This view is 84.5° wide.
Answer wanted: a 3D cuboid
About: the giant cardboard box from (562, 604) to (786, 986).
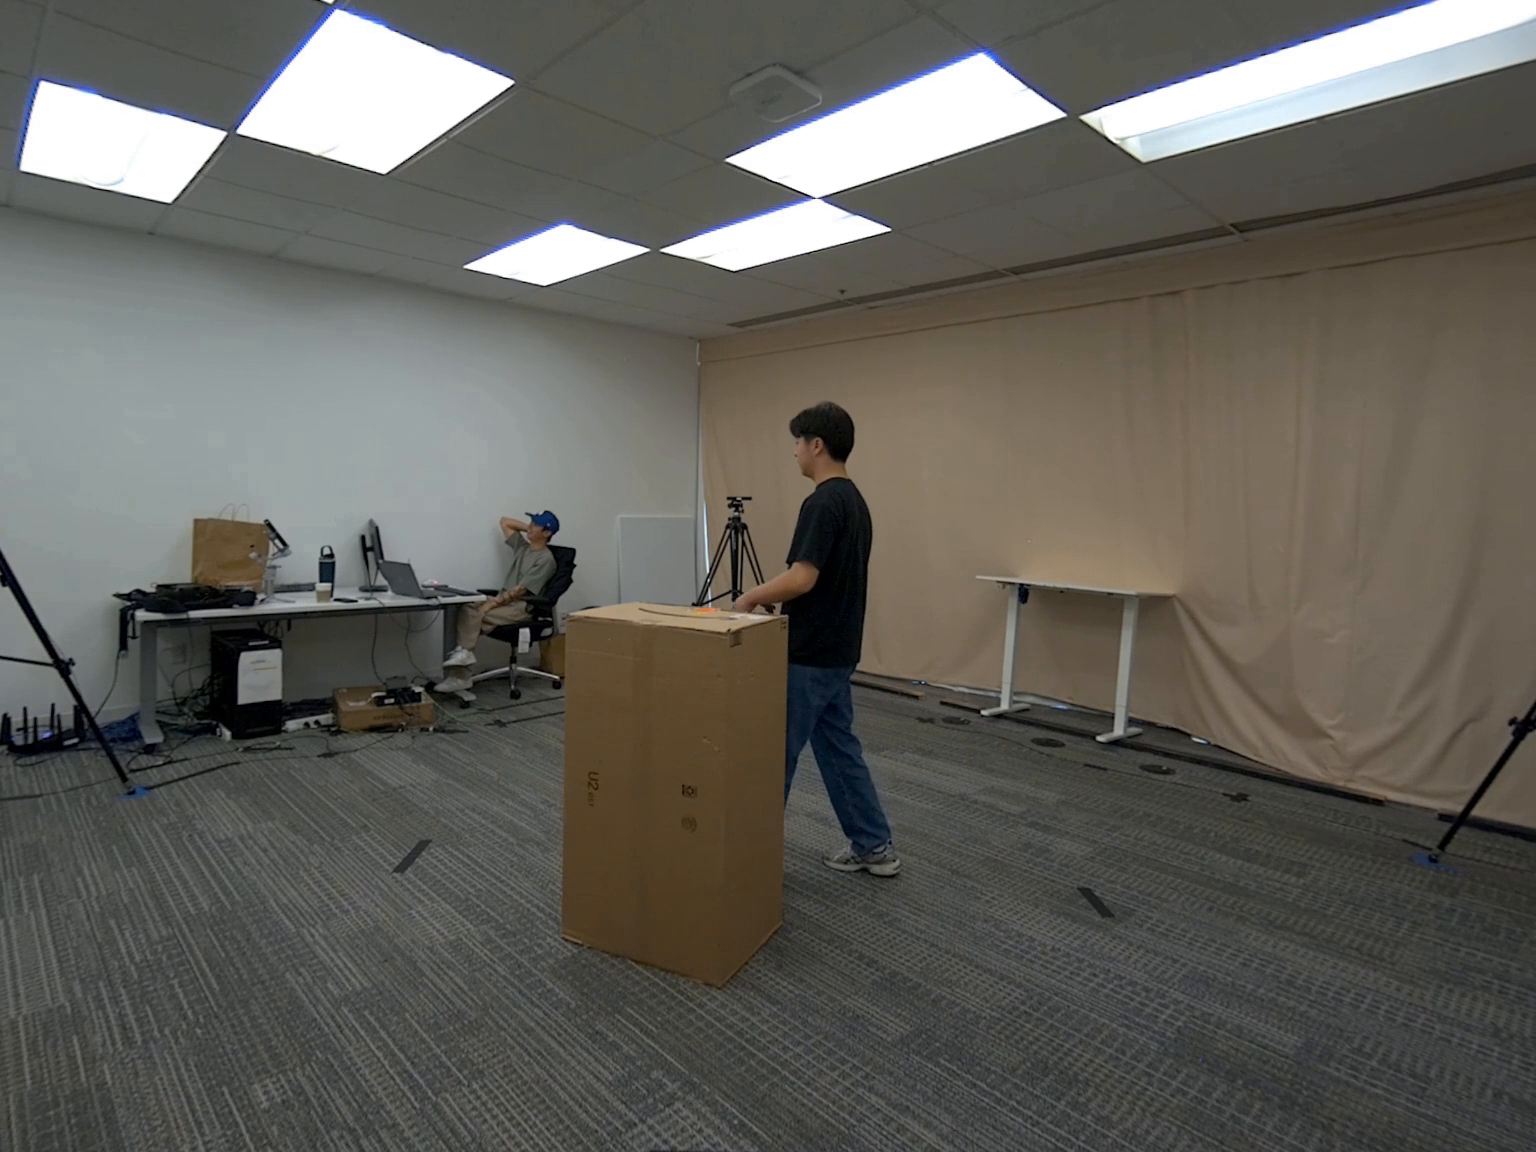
[{"bbox_3d":[-0.297,0.629,2.676,0.596,1.025,0.438,3,3,28],"label":"giant cardboard box"}]
